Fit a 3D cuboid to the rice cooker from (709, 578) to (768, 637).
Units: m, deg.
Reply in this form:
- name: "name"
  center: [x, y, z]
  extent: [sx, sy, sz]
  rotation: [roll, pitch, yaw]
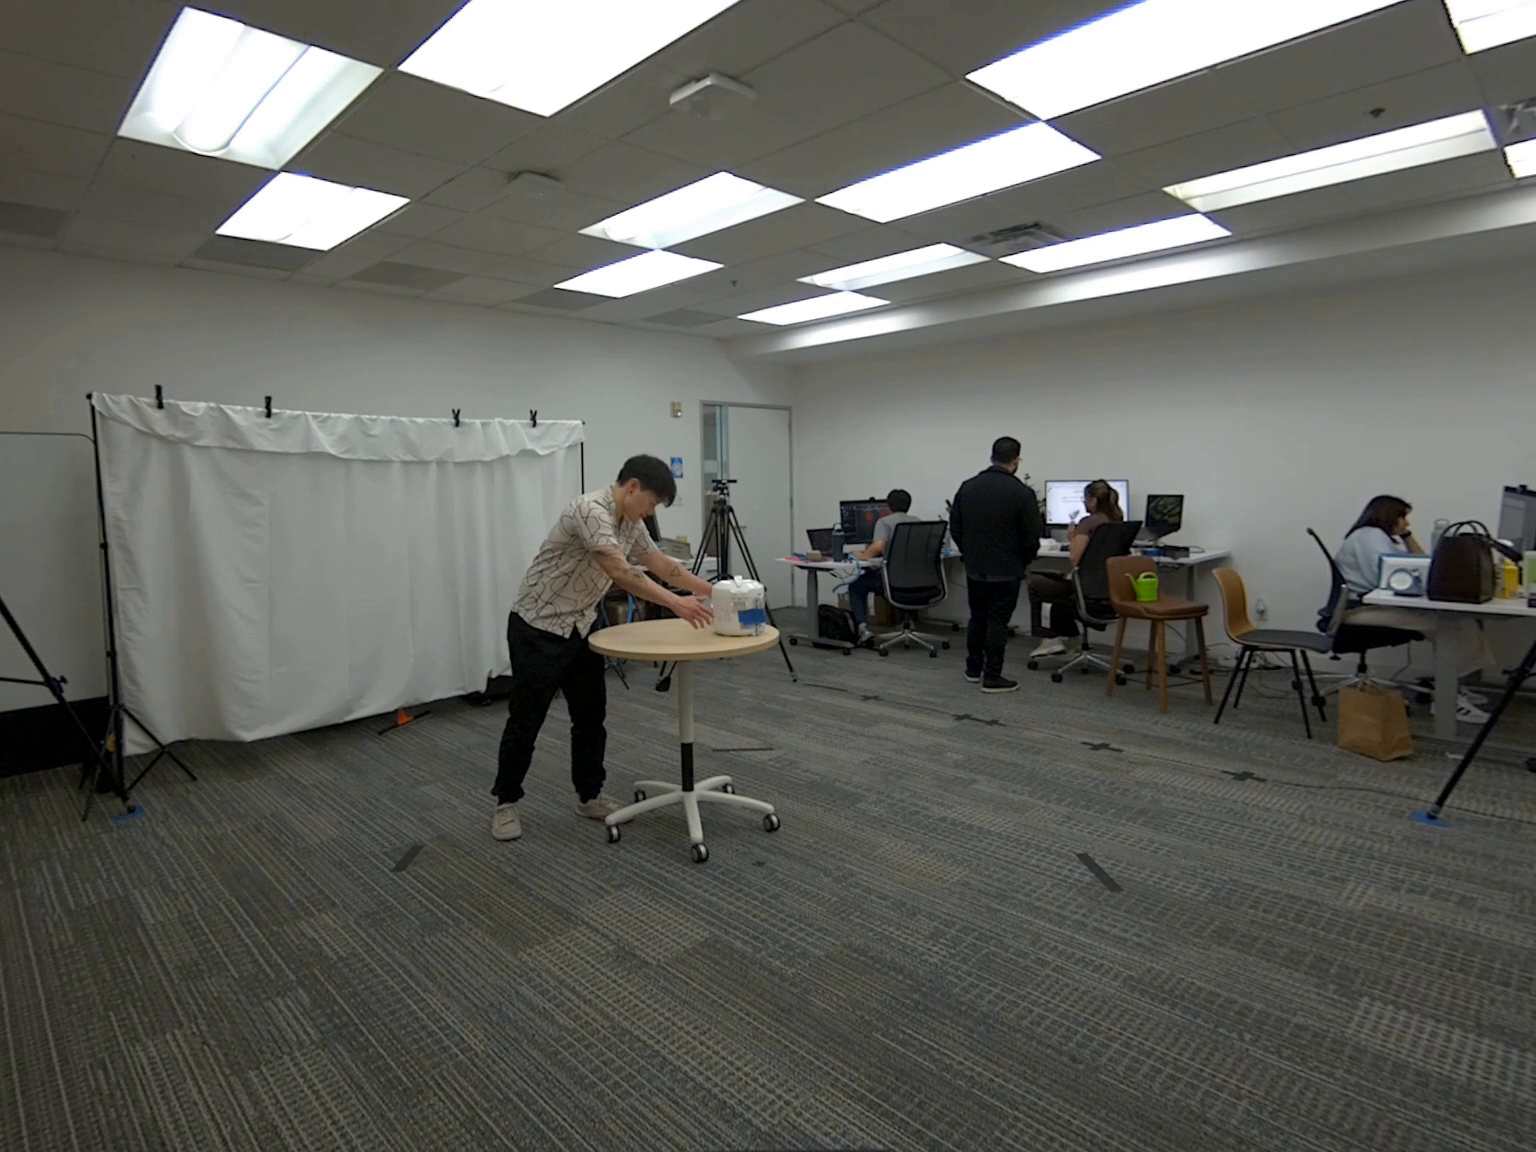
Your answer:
- name: "rice cooker"
  center: [-0.119, 0.114, 3.423]
  extent: [0.217, 0.232, 0.222]
  rotation: [-1, 4, -2]
